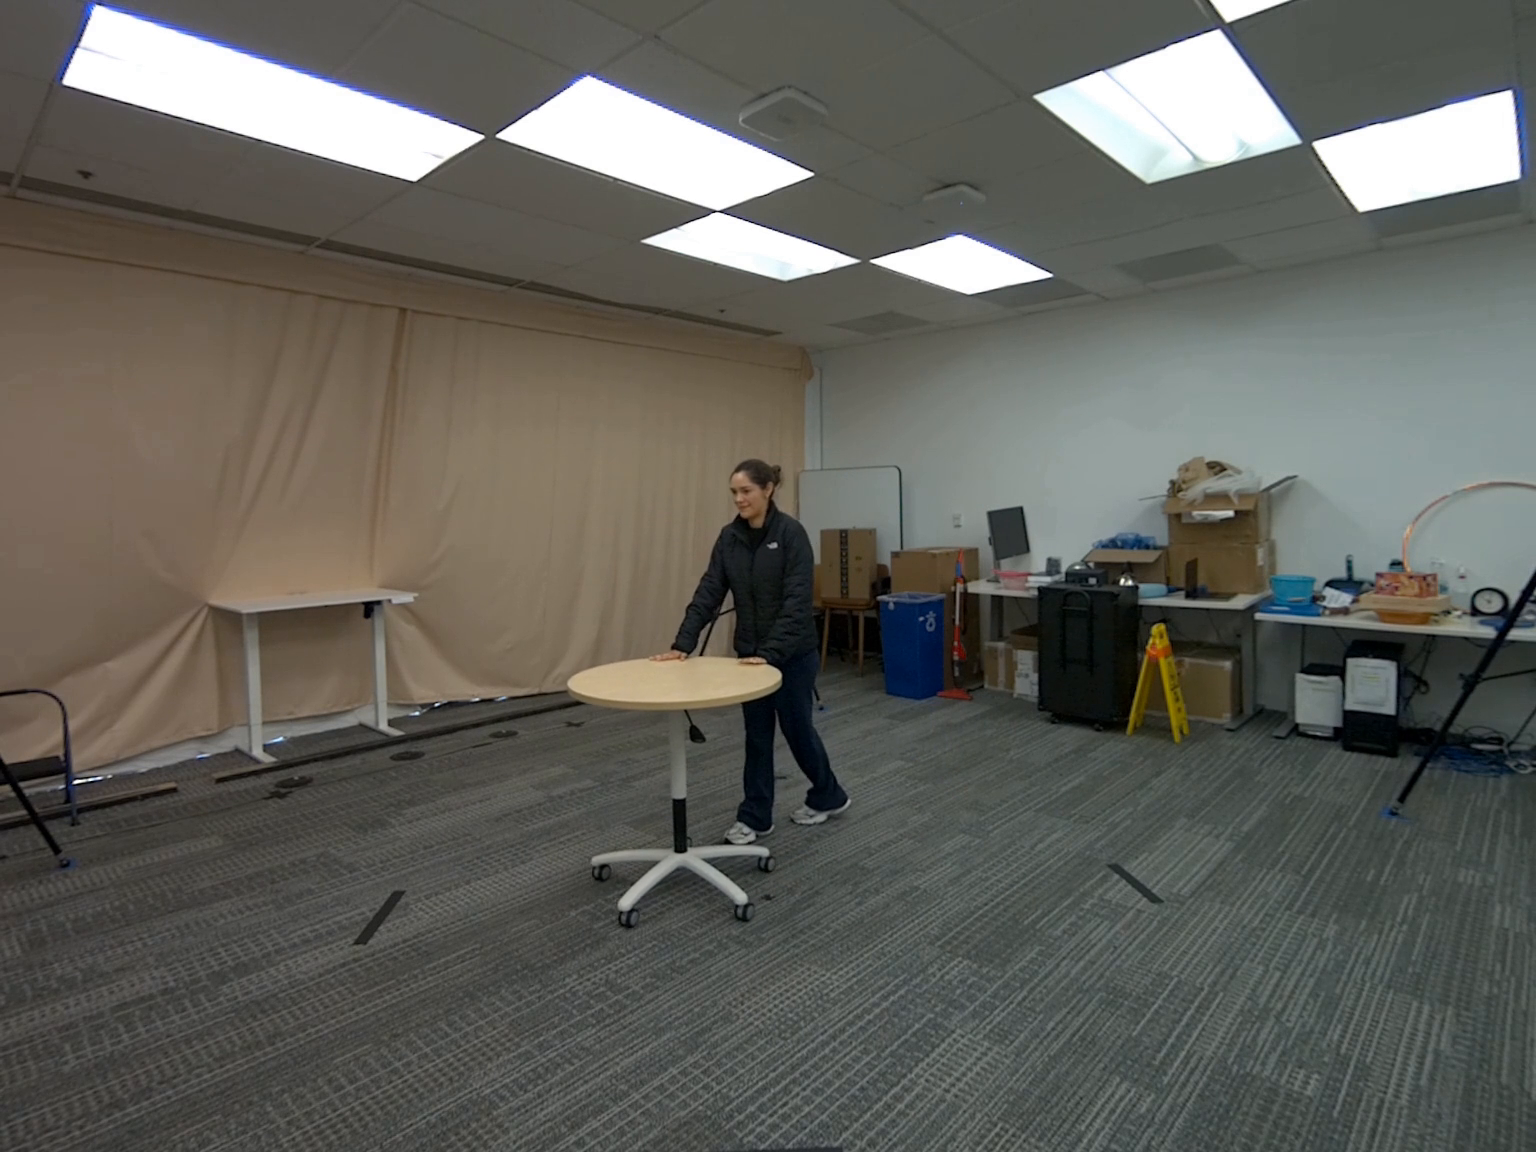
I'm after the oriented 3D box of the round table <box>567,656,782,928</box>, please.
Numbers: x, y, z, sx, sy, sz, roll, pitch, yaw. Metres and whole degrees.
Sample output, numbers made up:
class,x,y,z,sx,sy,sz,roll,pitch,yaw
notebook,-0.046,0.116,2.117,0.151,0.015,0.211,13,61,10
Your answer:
class,x,y,z,sx,sy,sz,roll,pitch,yaw
round table,-0.308,0.744,3.065,0.784,0.784,0.788,-2,4,-2
